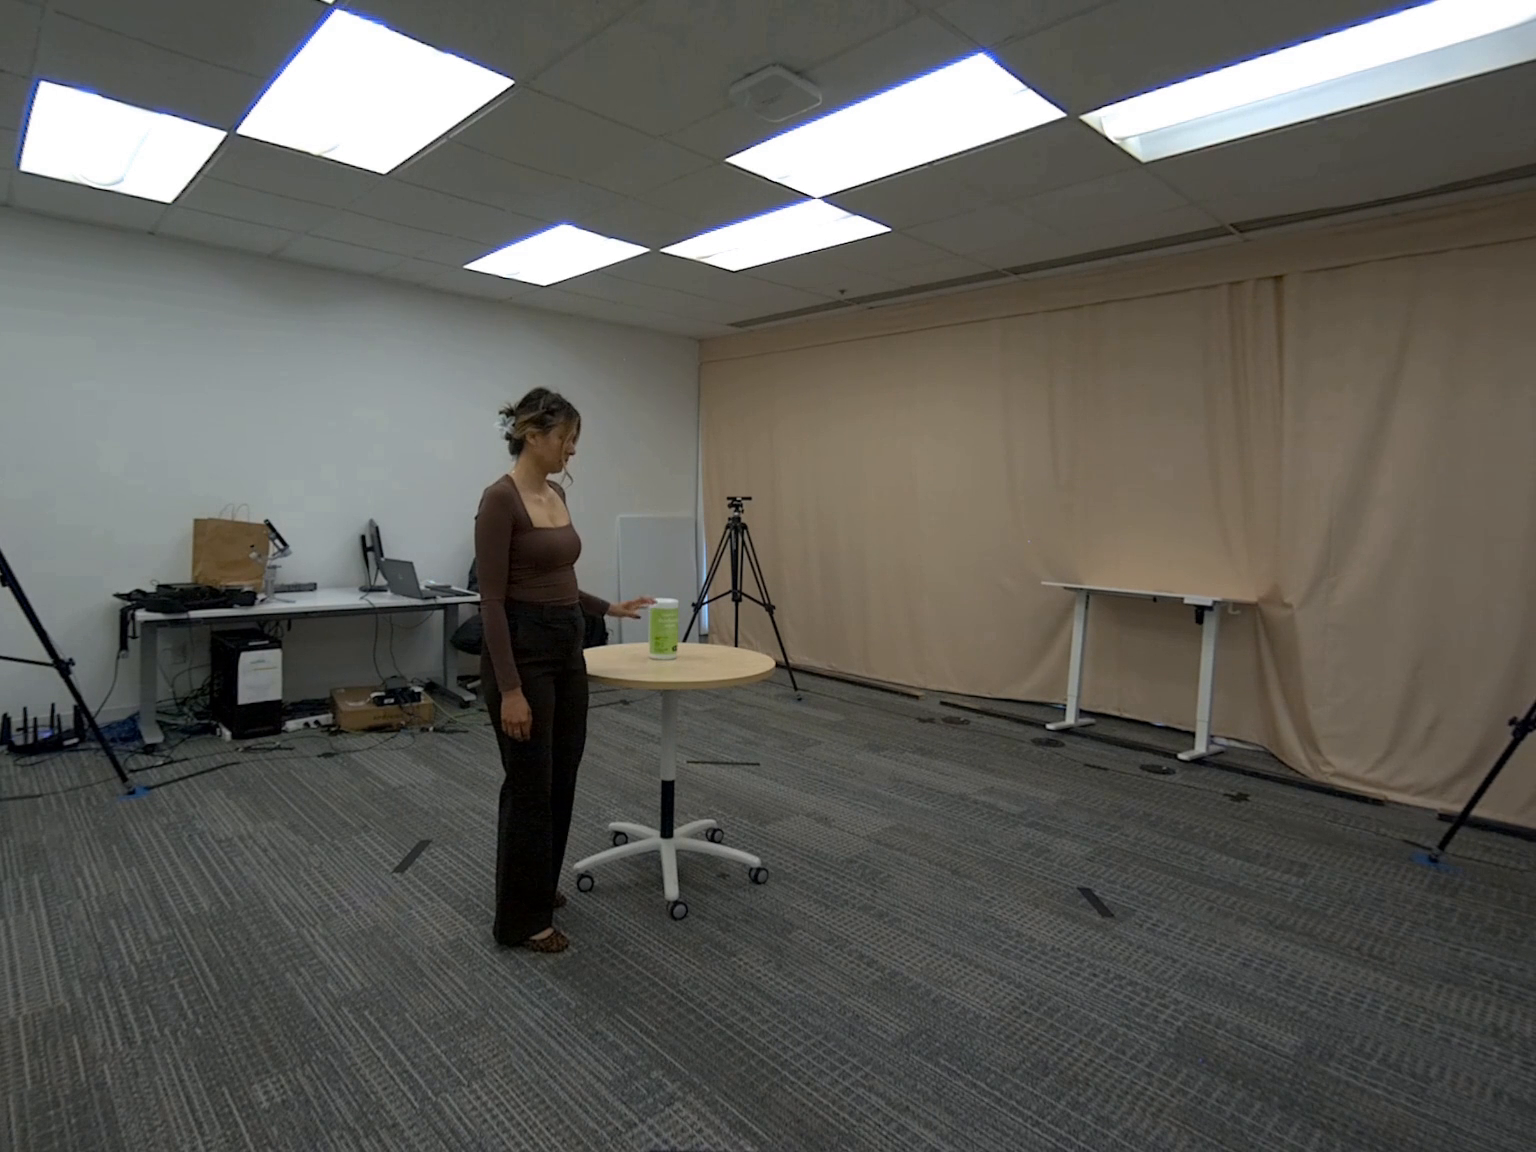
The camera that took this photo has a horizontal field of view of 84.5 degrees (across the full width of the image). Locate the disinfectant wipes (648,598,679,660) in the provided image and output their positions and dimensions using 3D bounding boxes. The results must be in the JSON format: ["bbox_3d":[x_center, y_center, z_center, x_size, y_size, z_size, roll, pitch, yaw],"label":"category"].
[{"bbox_3d":[-0.401,0.198,3.106,0.118,0.217,0.118,2,3,-1],"label":"disinfectant wipes"}]
